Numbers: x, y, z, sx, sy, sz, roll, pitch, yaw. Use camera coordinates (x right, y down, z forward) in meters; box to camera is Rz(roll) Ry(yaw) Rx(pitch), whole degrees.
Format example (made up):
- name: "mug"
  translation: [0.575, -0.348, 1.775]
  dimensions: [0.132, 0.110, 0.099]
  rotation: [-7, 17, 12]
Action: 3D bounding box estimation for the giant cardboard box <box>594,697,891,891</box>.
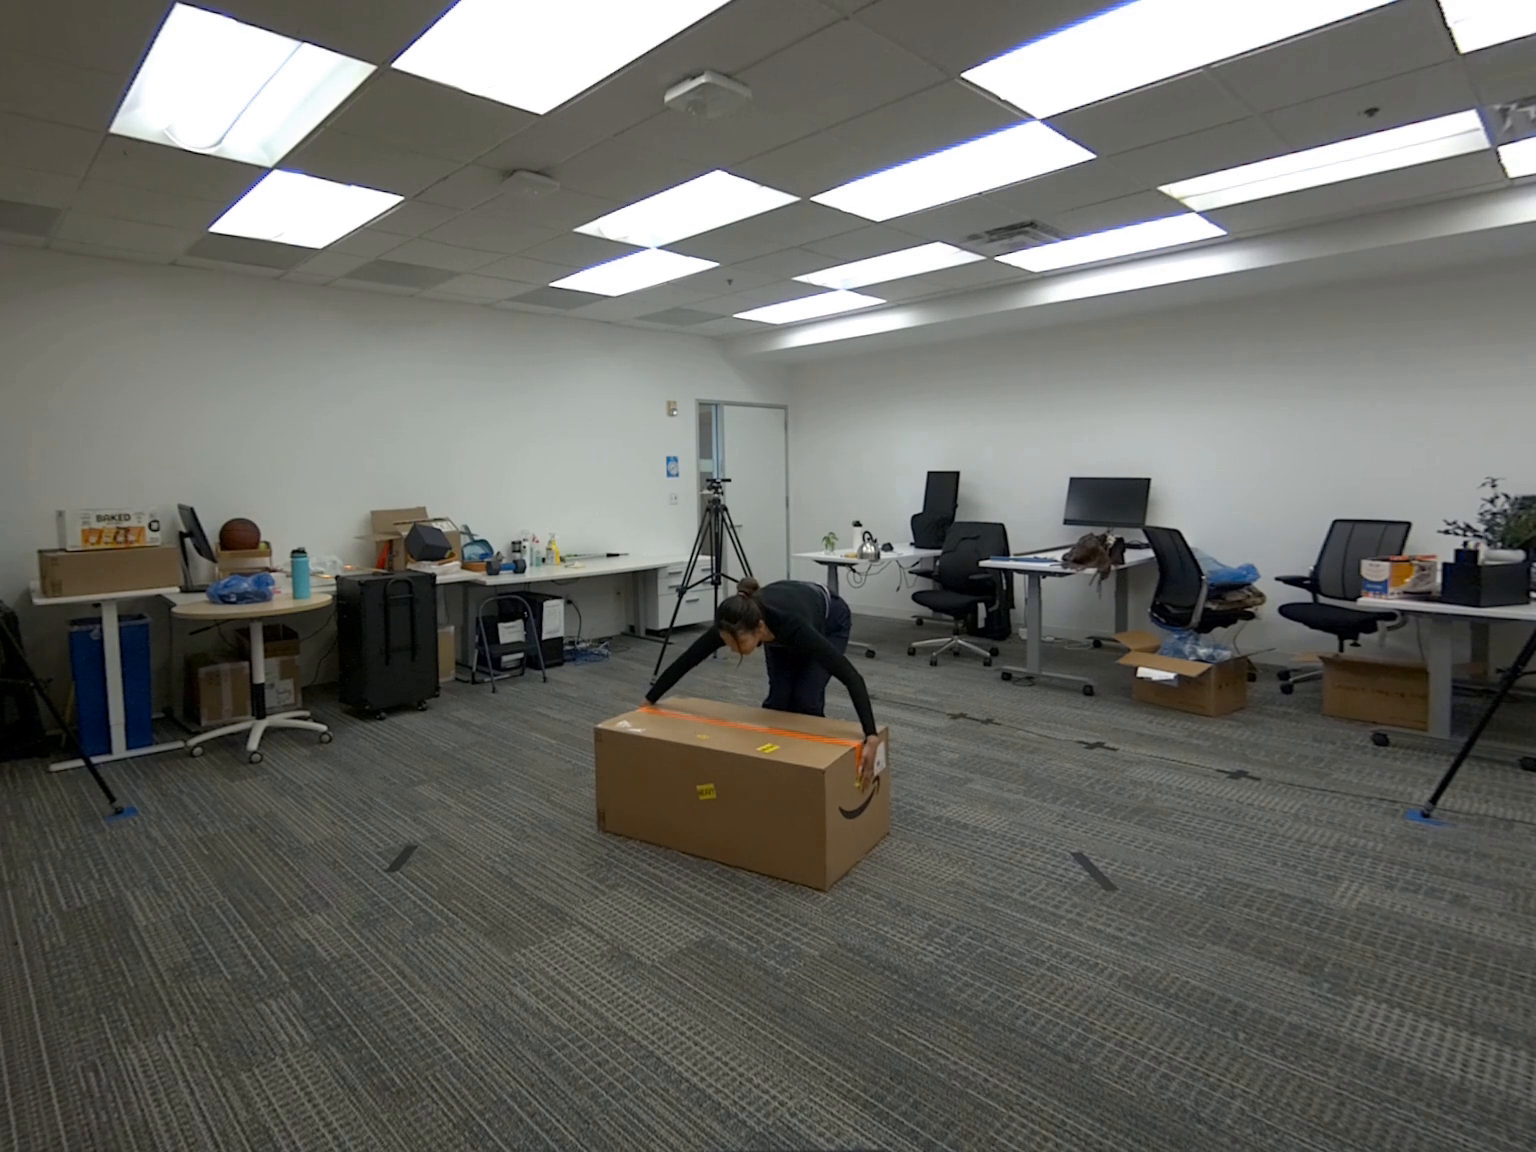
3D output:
- name: "giant cardboard box"
  translation: [-0.108, 0.798, 3.376]
  dimensions: [1.054, 0.425, 0.564]
  rotation: [2, 5, 32]
